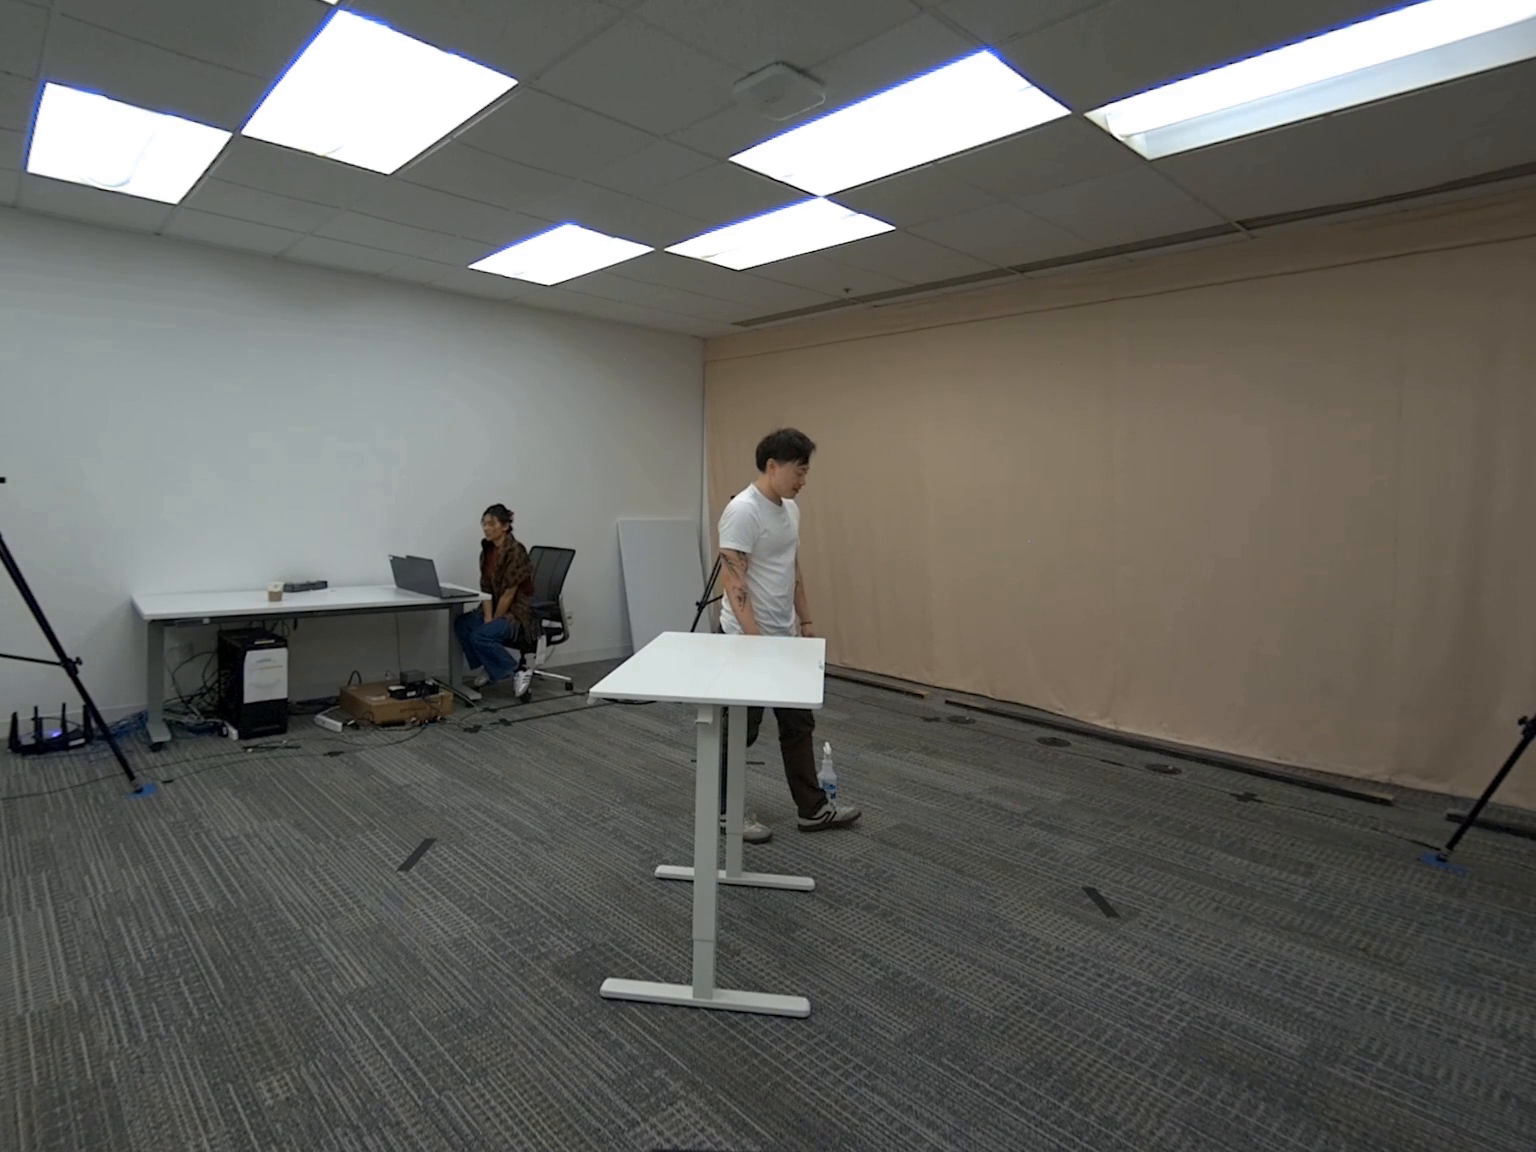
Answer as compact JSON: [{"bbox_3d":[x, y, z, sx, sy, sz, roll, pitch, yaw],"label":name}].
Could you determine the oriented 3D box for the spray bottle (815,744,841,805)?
[{"bbox_3d":[0.262,0.914,3.782,0.089,0.297,0.088,3,2,24],"label":"spray bottle"}]
